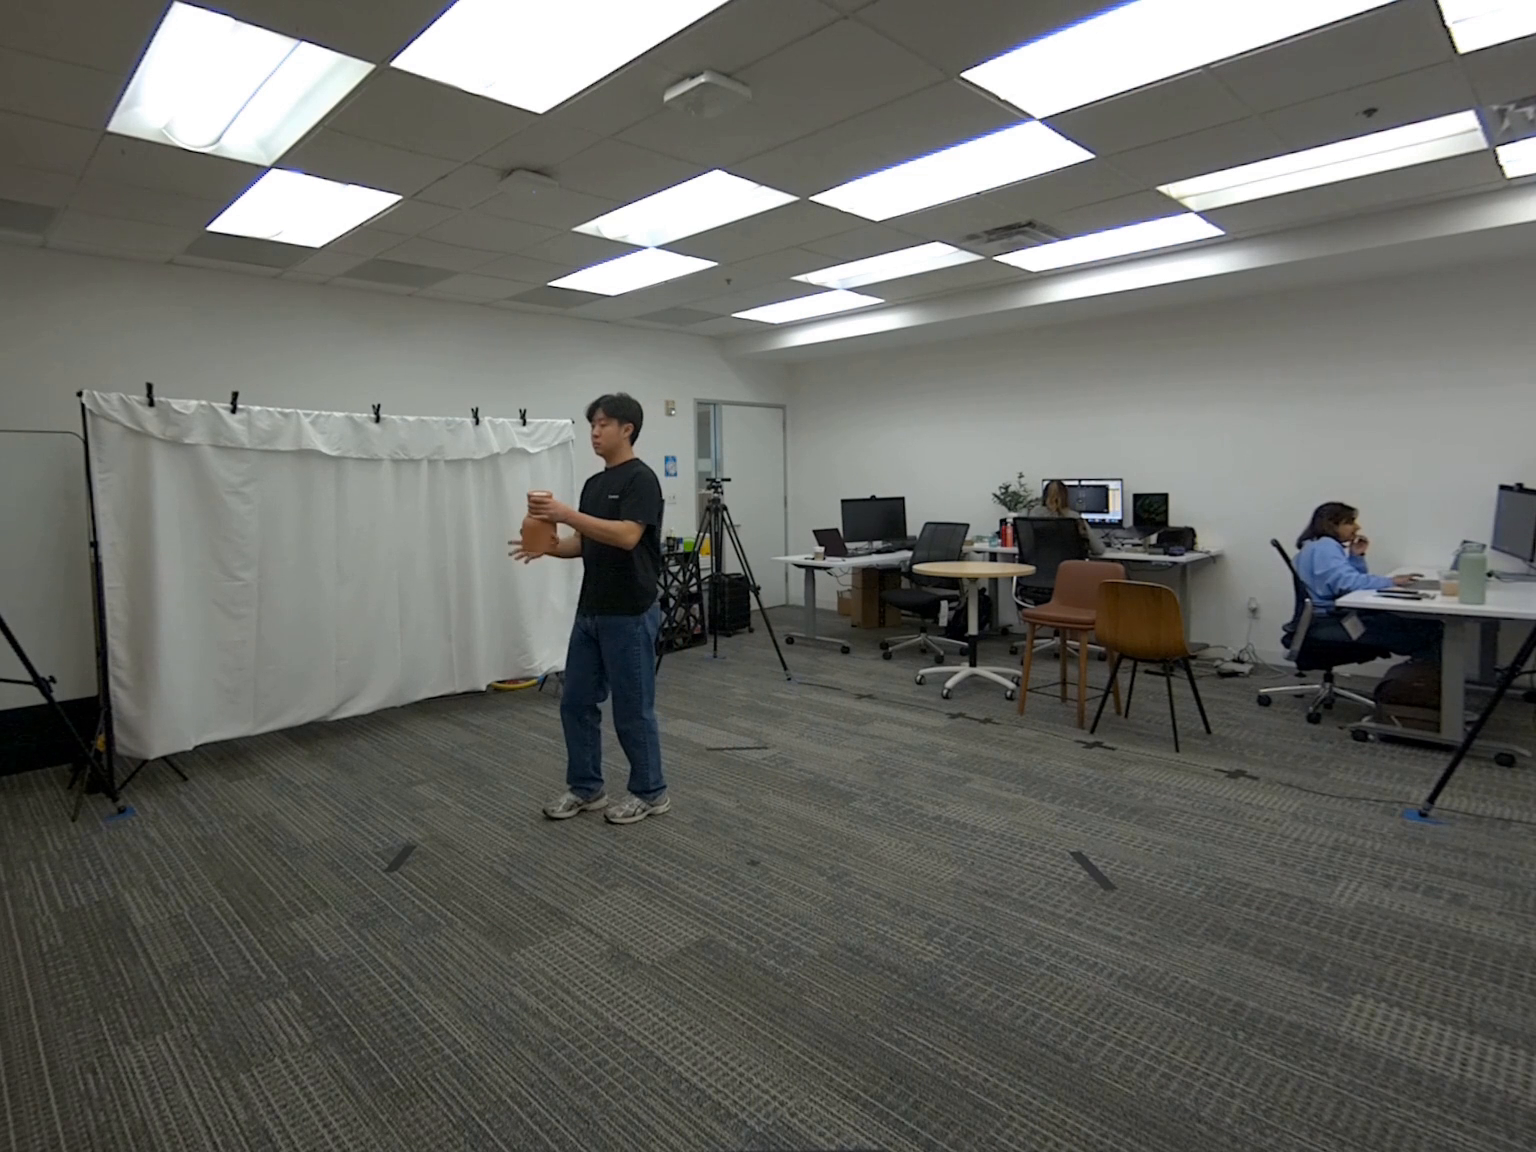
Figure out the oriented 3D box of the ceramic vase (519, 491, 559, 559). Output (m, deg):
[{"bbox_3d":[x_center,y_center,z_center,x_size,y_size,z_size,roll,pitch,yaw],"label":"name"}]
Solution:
[{"bbox_3d":[-0.886,-0.214,3.318,0.157,0.217,0.138,1,15,-11],"label":"ceramic vase"}]
